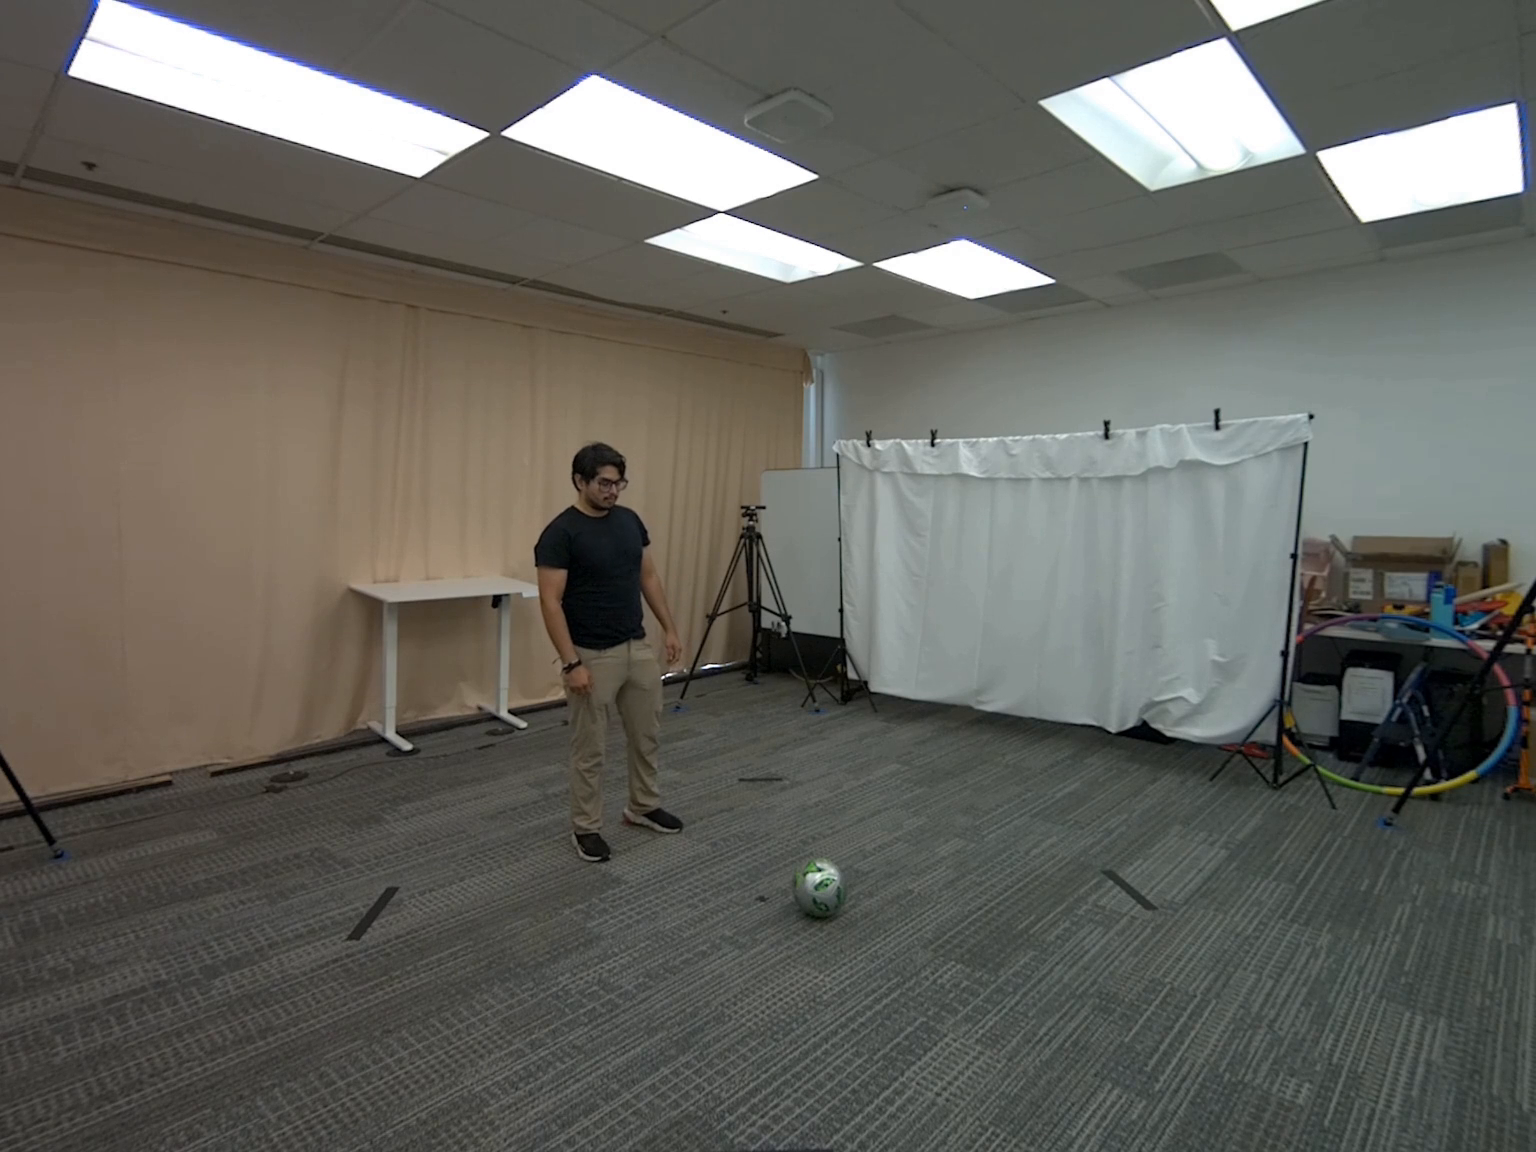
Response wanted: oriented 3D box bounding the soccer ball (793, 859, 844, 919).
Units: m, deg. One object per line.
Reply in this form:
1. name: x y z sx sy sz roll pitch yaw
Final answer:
1. soccer ball: 0.180 1.063 2.865 0.187 0.187 0.188 0 4 -2
